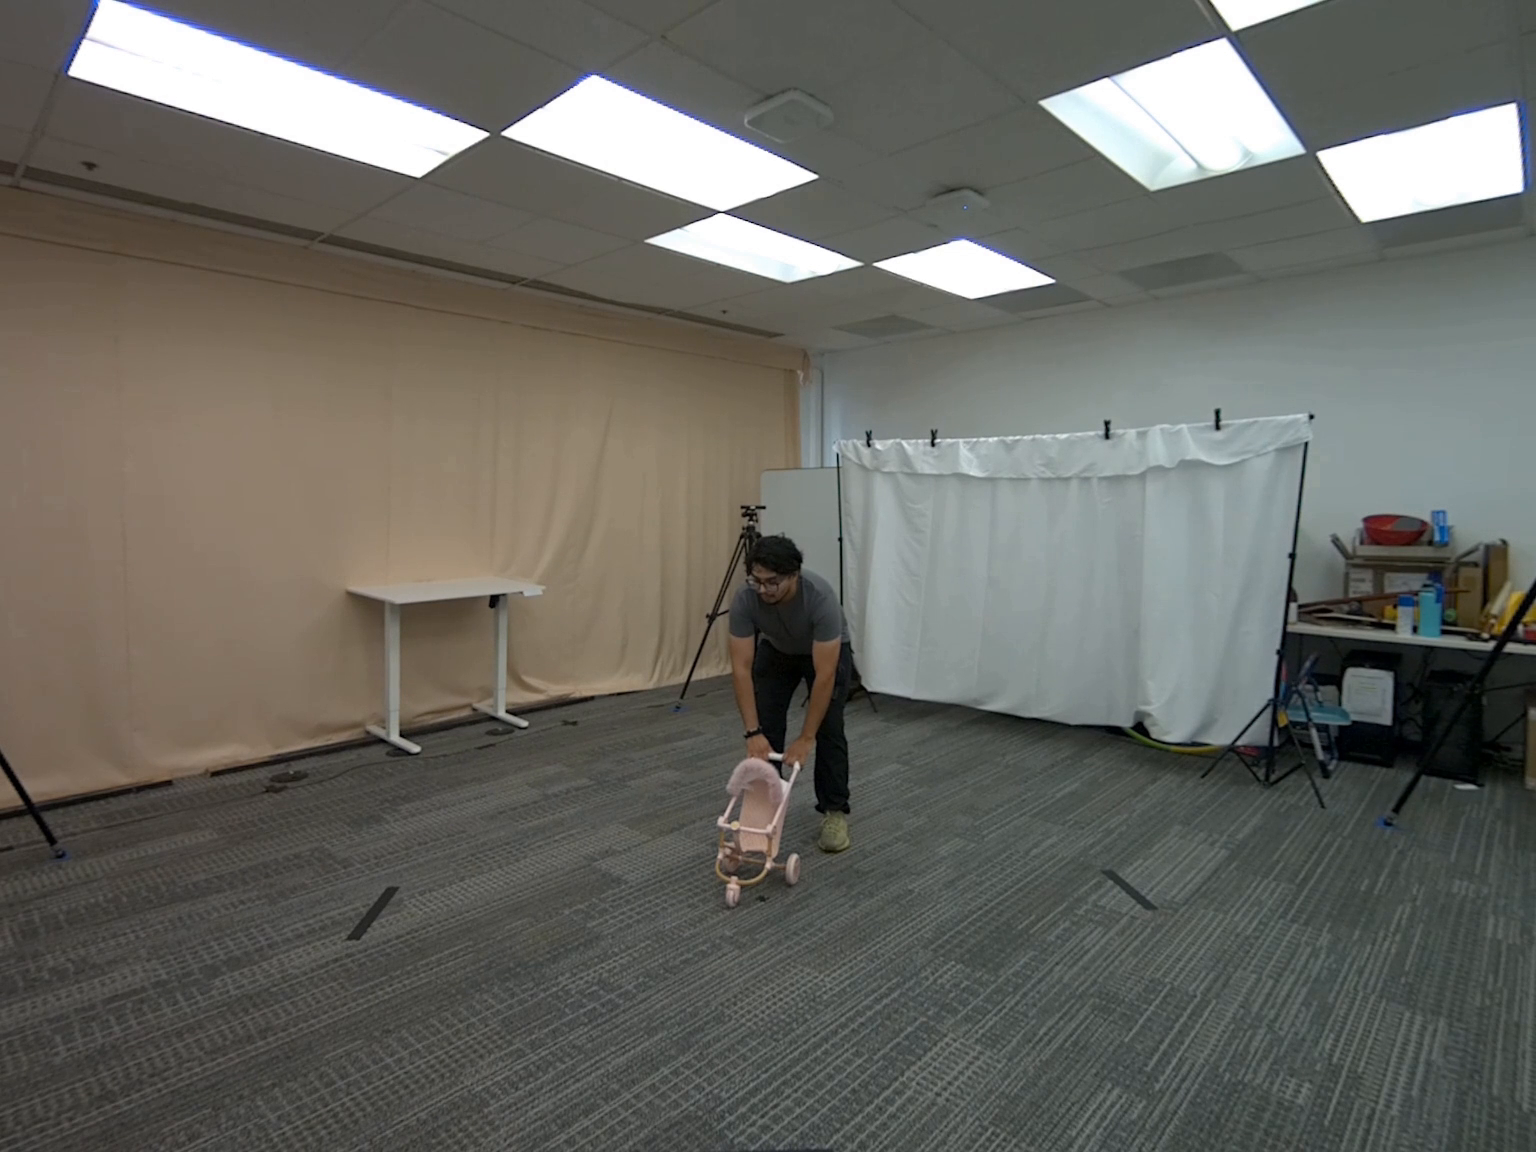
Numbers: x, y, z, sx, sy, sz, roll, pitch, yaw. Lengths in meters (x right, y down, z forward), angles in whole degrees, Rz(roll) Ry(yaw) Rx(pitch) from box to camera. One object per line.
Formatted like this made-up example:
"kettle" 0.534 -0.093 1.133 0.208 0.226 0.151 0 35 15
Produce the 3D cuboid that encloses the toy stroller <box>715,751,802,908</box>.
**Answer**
"toy stroller" -0.050 0.912 3.086 0.289 0.538 0.330 1 -14 28
